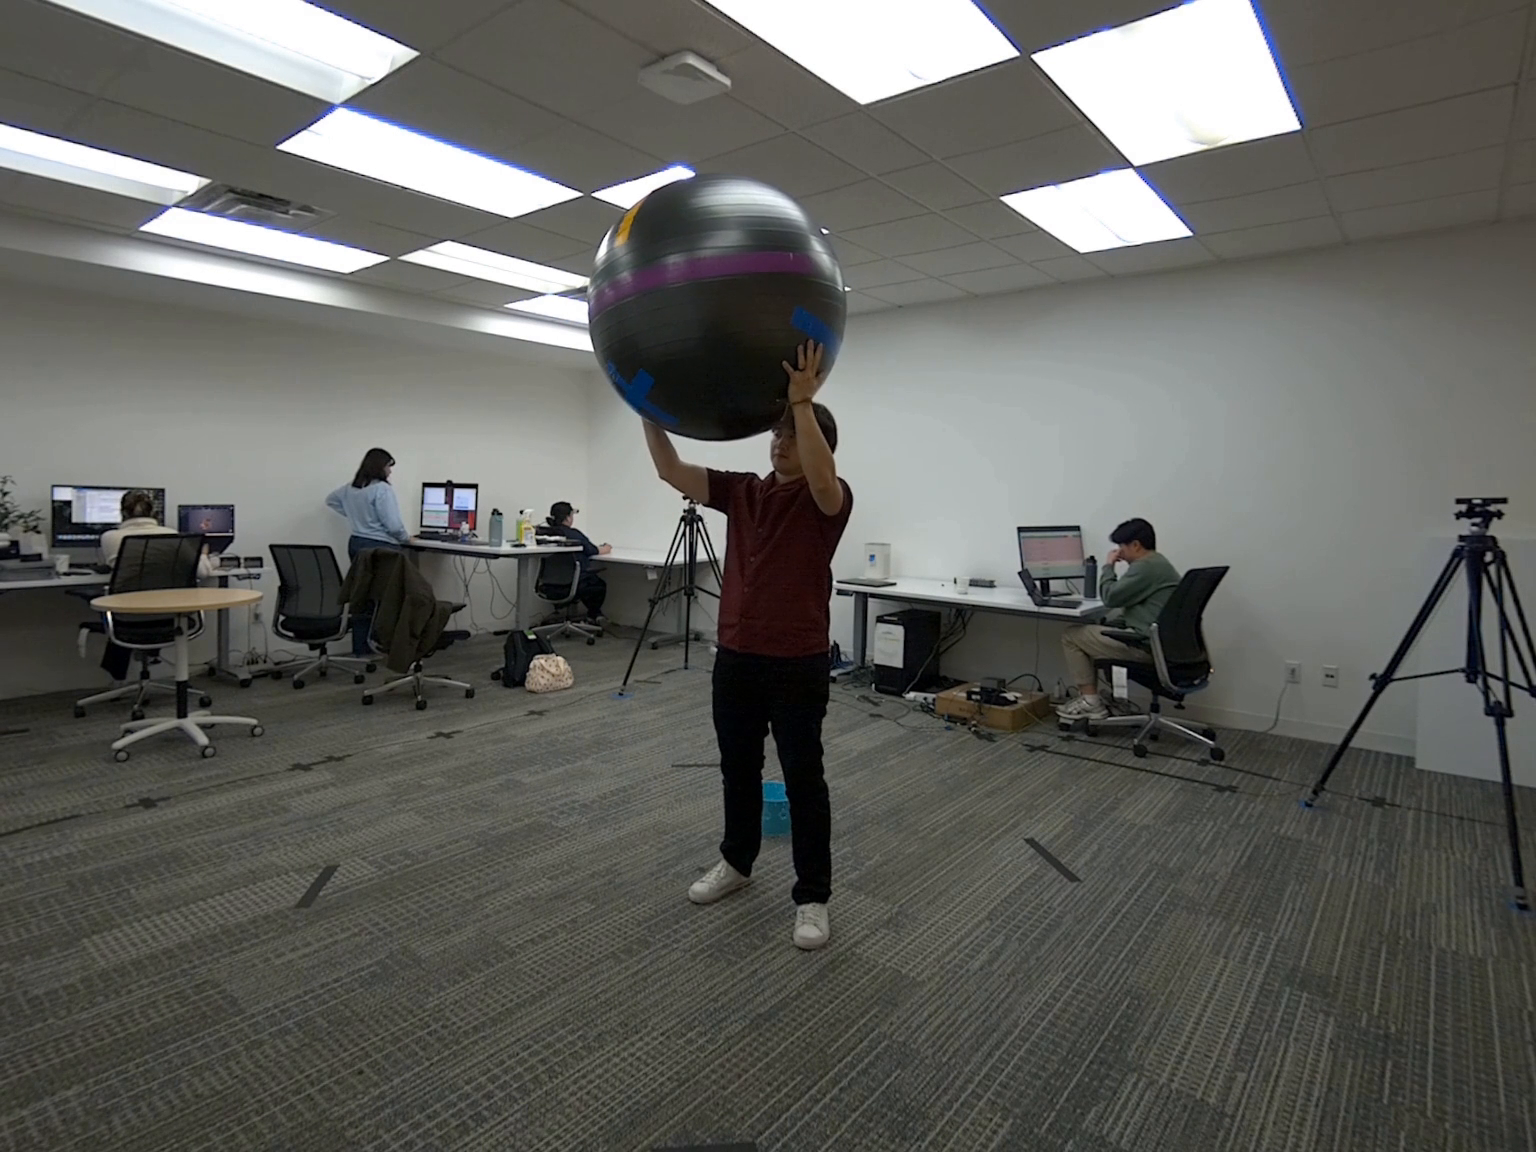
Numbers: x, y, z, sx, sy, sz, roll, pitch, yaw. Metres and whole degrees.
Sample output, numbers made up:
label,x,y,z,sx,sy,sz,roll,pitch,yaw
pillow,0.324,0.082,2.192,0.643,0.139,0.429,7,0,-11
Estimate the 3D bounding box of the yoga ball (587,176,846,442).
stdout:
label,x,y,z,sx,sy,sz,roll,pitch,yaw
yoga ball,-0.158,-0.773,2.506,0.757,0.755,0.762,1,4,-2
